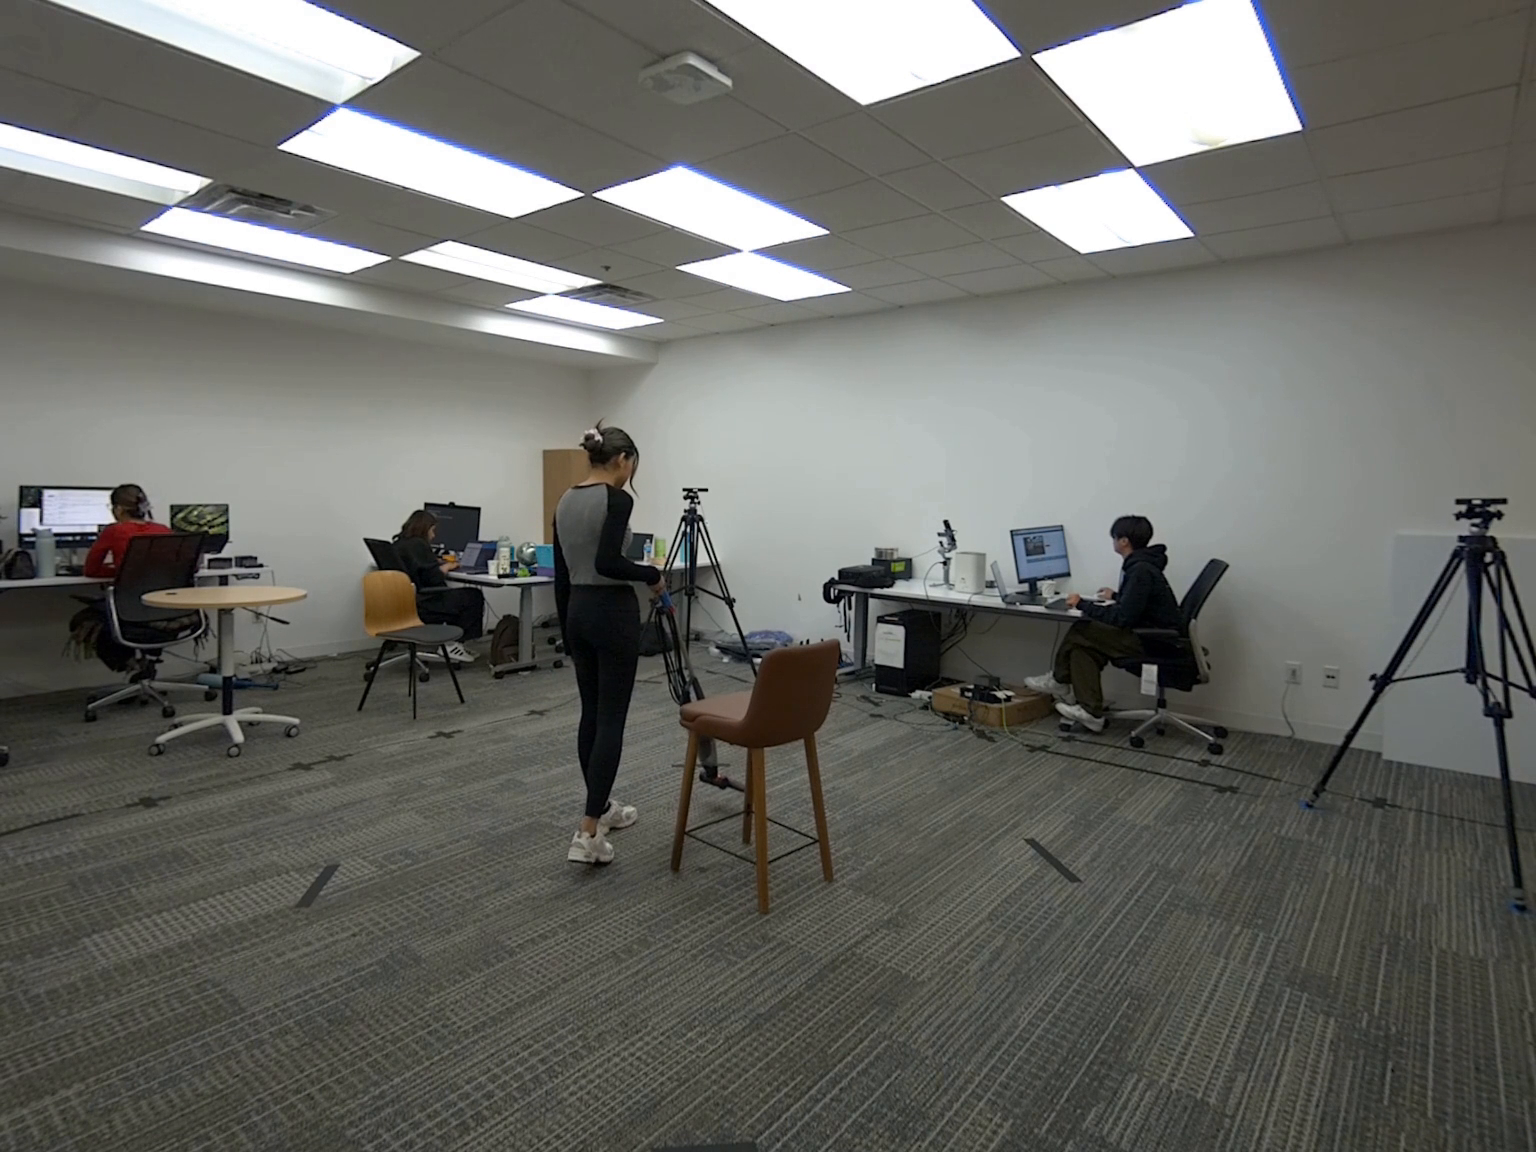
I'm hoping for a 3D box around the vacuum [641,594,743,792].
[{"bbox_3d":[-0.352,0.445,3.516,0.261,1.023,0.143,5,31,41],"label":"vacuum"}]
